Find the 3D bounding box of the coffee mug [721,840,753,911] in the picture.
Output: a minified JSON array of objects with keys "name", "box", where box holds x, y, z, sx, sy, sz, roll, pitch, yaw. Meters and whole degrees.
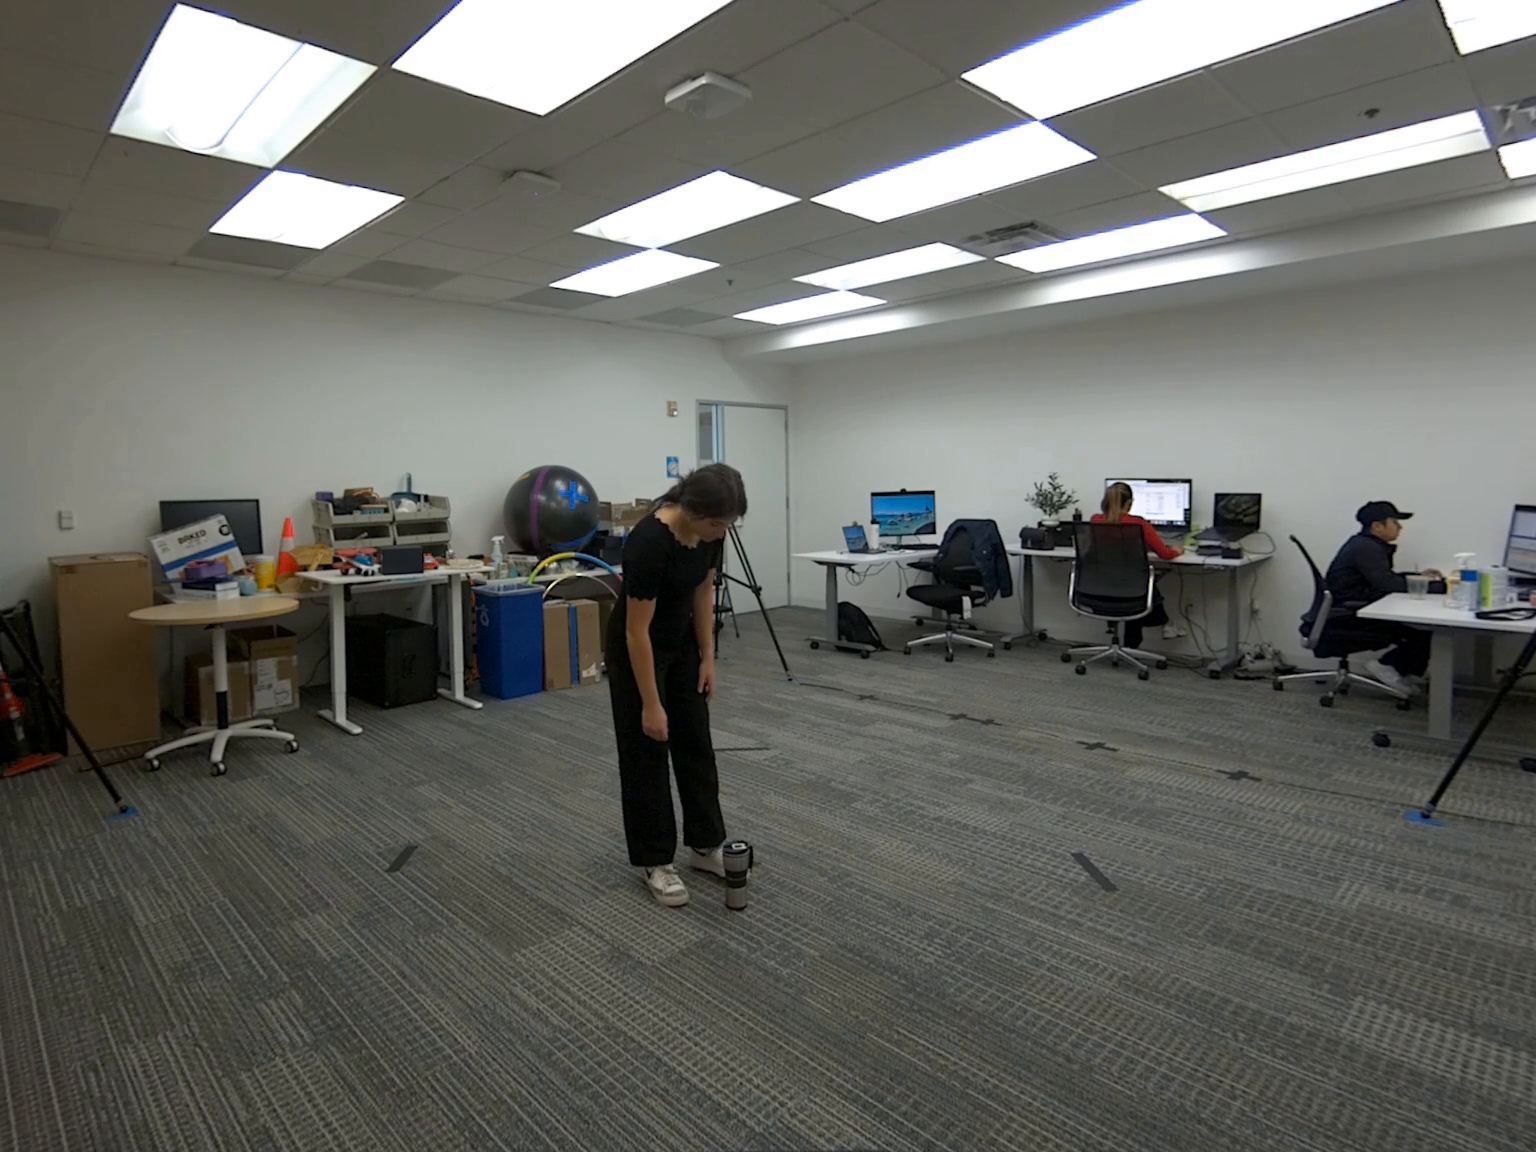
[{"name":"coffee mug","box":[-0.081,0.982,2.805,0.119,0.202,0.090,-6,3,-27]}]
